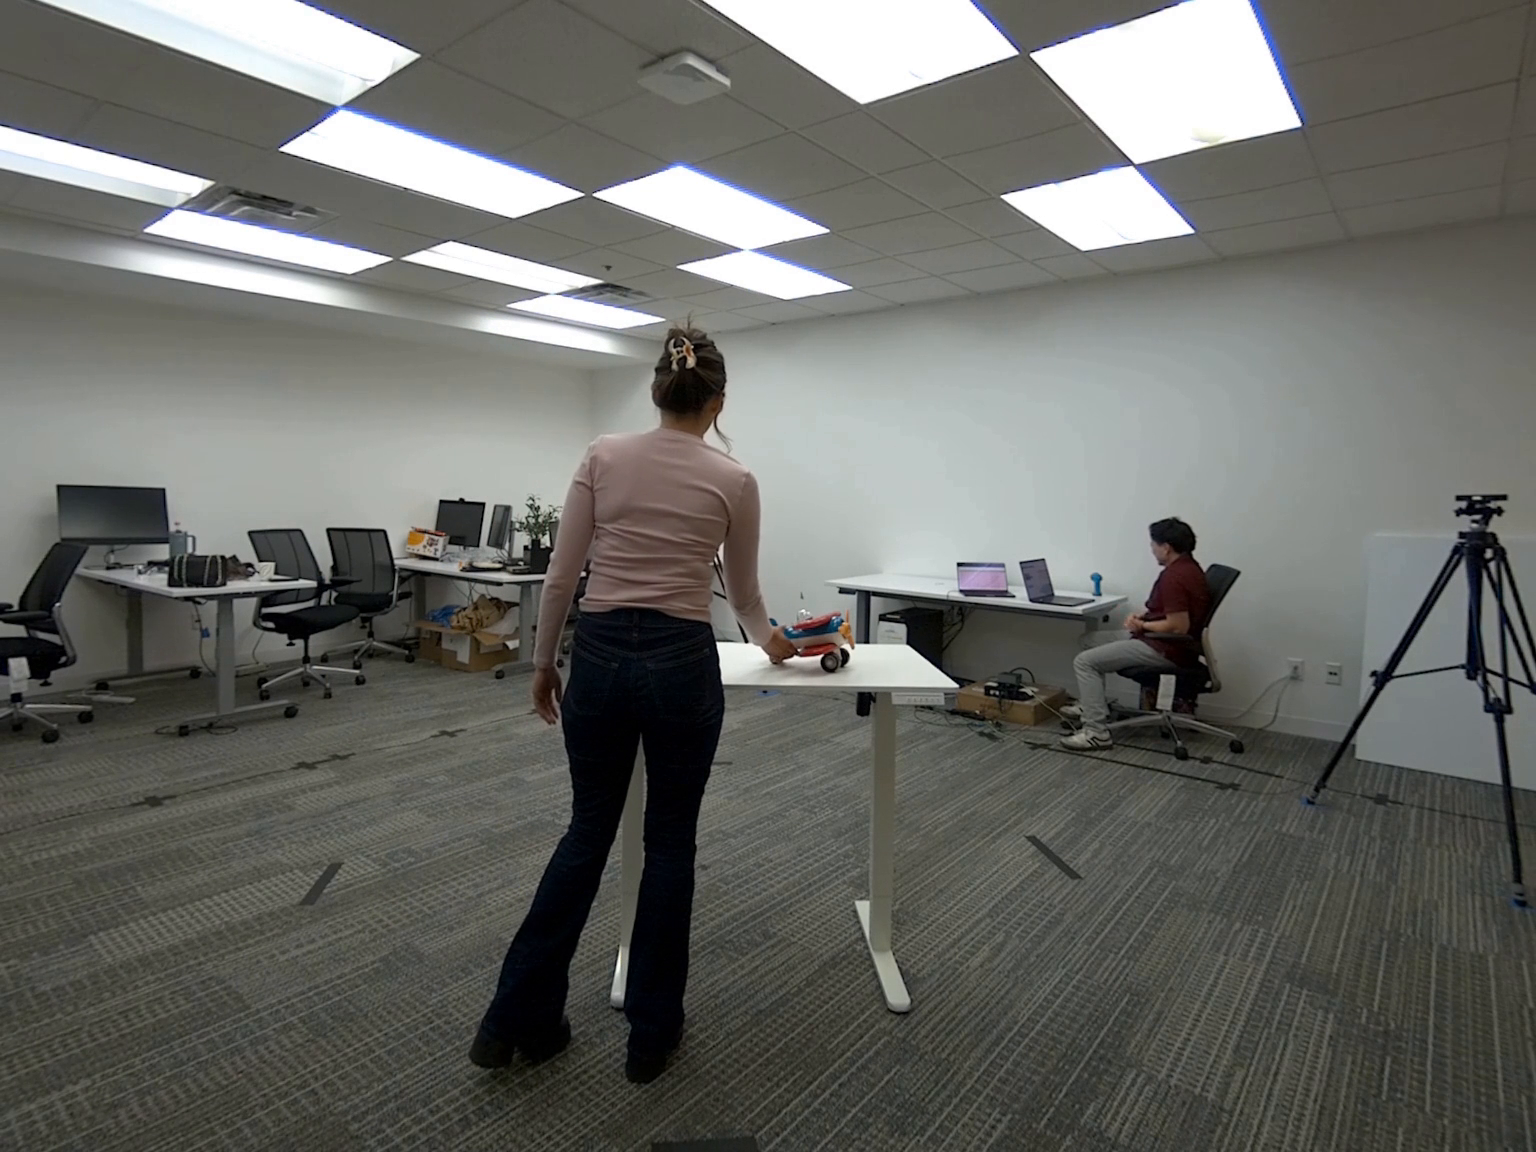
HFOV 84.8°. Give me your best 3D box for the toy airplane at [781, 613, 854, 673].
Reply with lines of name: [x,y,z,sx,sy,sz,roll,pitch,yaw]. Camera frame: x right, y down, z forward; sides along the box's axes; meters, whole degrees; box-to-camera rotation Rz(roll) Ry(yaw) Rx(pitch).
toy airplane: [0.105,0.184,2.425,0.258,0.156,0.253,1,5,-4]
